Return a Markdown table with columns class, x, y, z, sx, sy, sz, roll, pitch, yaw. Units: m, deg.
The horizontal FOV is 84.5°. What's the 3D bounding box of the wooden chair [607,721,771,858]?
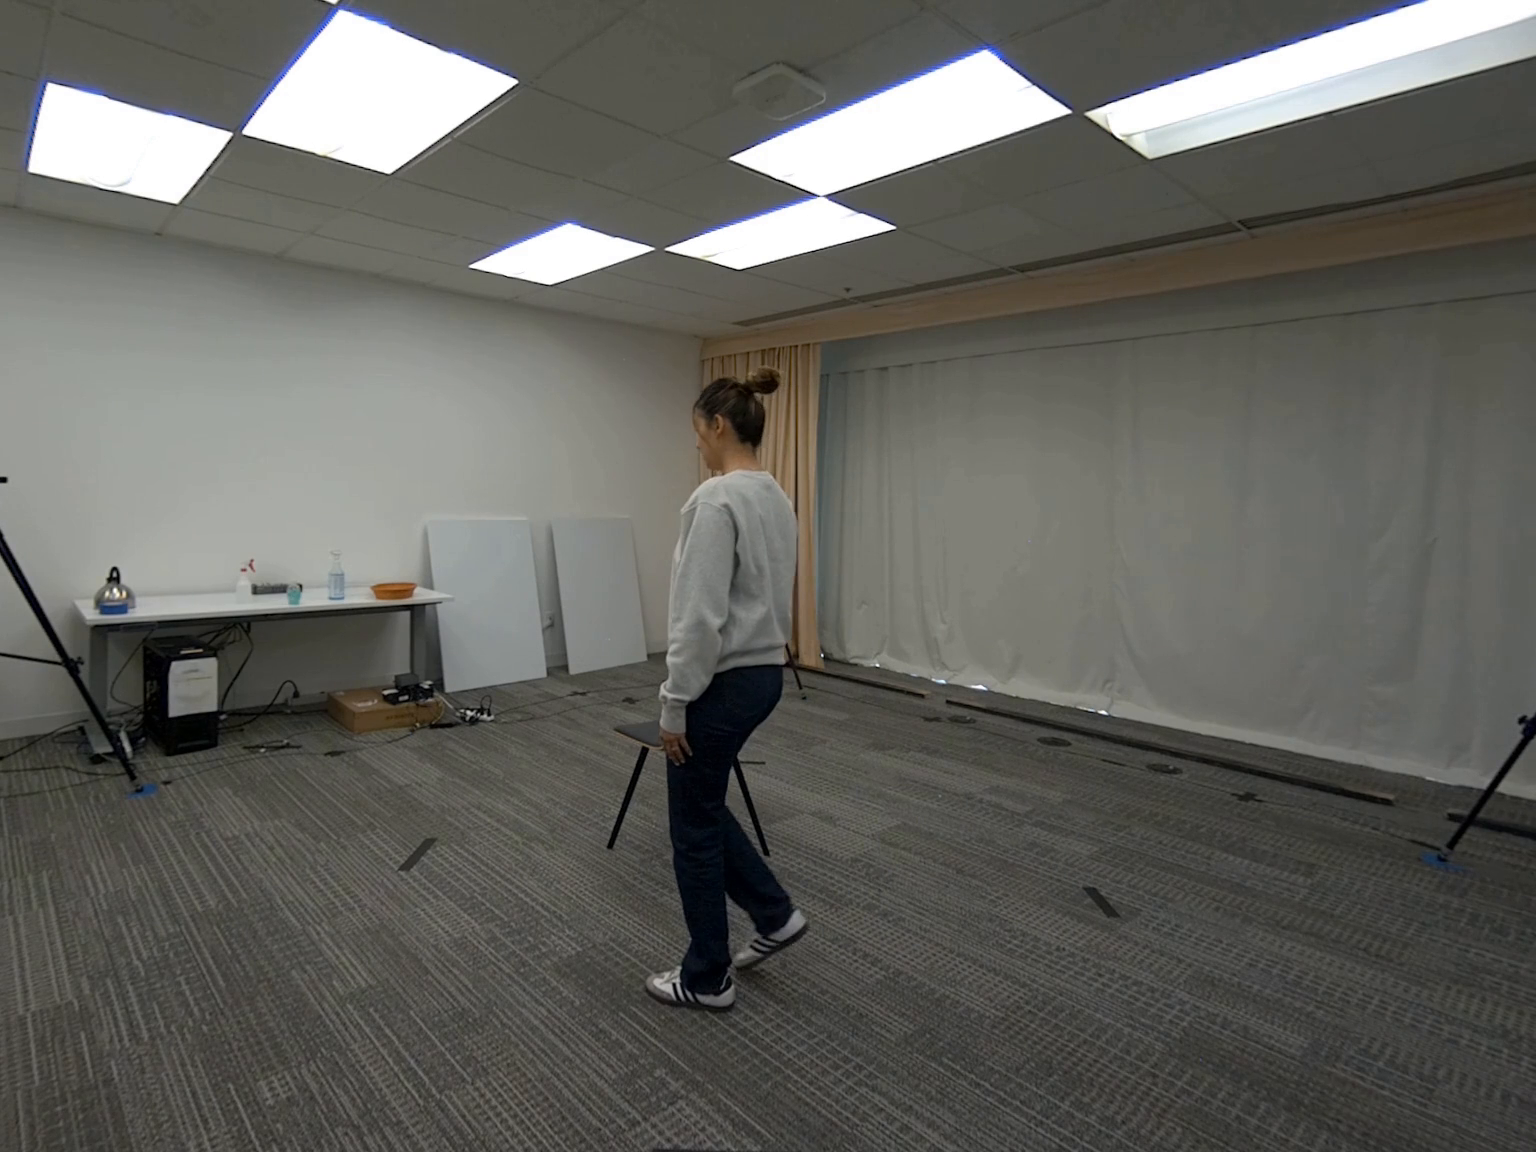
| class | x | y | z | sx | sy | sz | roll | pitch | yaw |
| --- | --- | --- | --- | --- | --- | --- | --- | --- | --- |
| wooden chair | -0.309 | 0.660 | 3.264 | 0.467 | 0.873 | 0.538 | -2 | 9 | -44 |
